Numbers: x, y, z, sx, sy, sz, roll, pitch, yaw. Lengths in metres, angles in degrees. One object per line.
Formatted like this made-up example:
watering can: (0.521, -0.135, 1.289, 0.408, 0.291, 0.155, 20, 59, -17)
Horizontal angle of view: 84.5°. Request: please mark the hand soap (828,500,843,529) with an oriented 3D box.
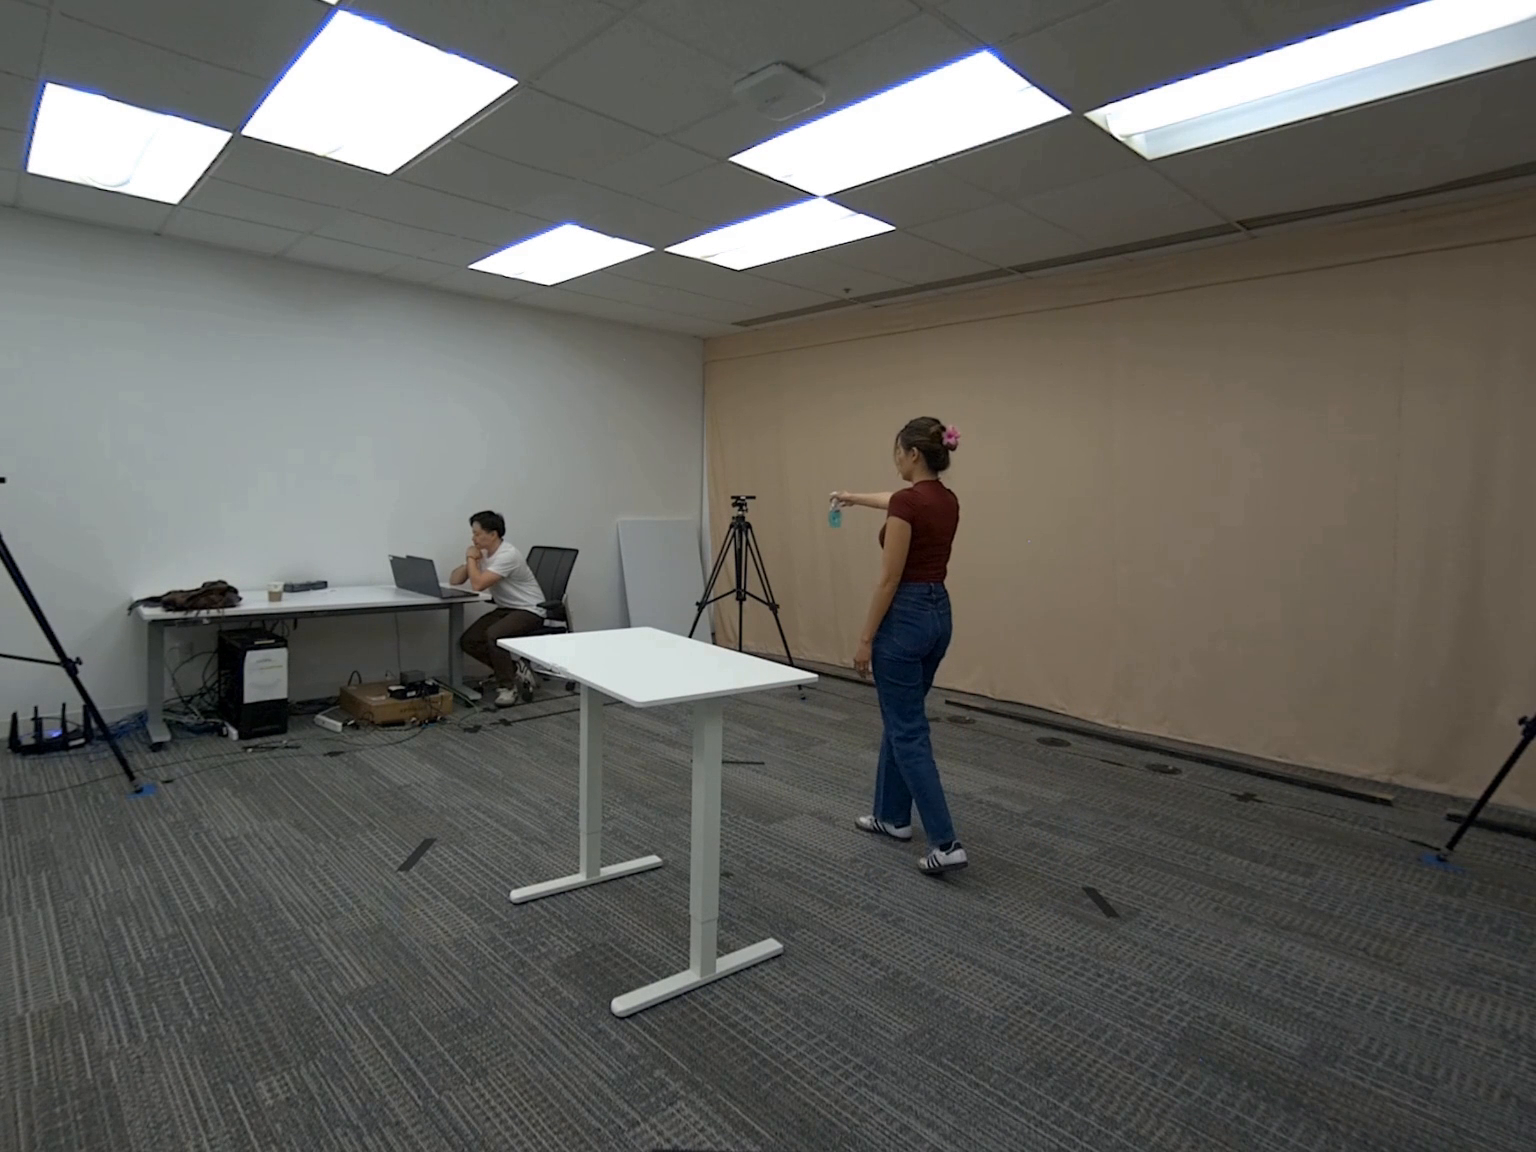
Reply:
hand soap: (0.313, -0.314, 3.980, 0.044, 0.167, 0.083, 5, 10, 41)
